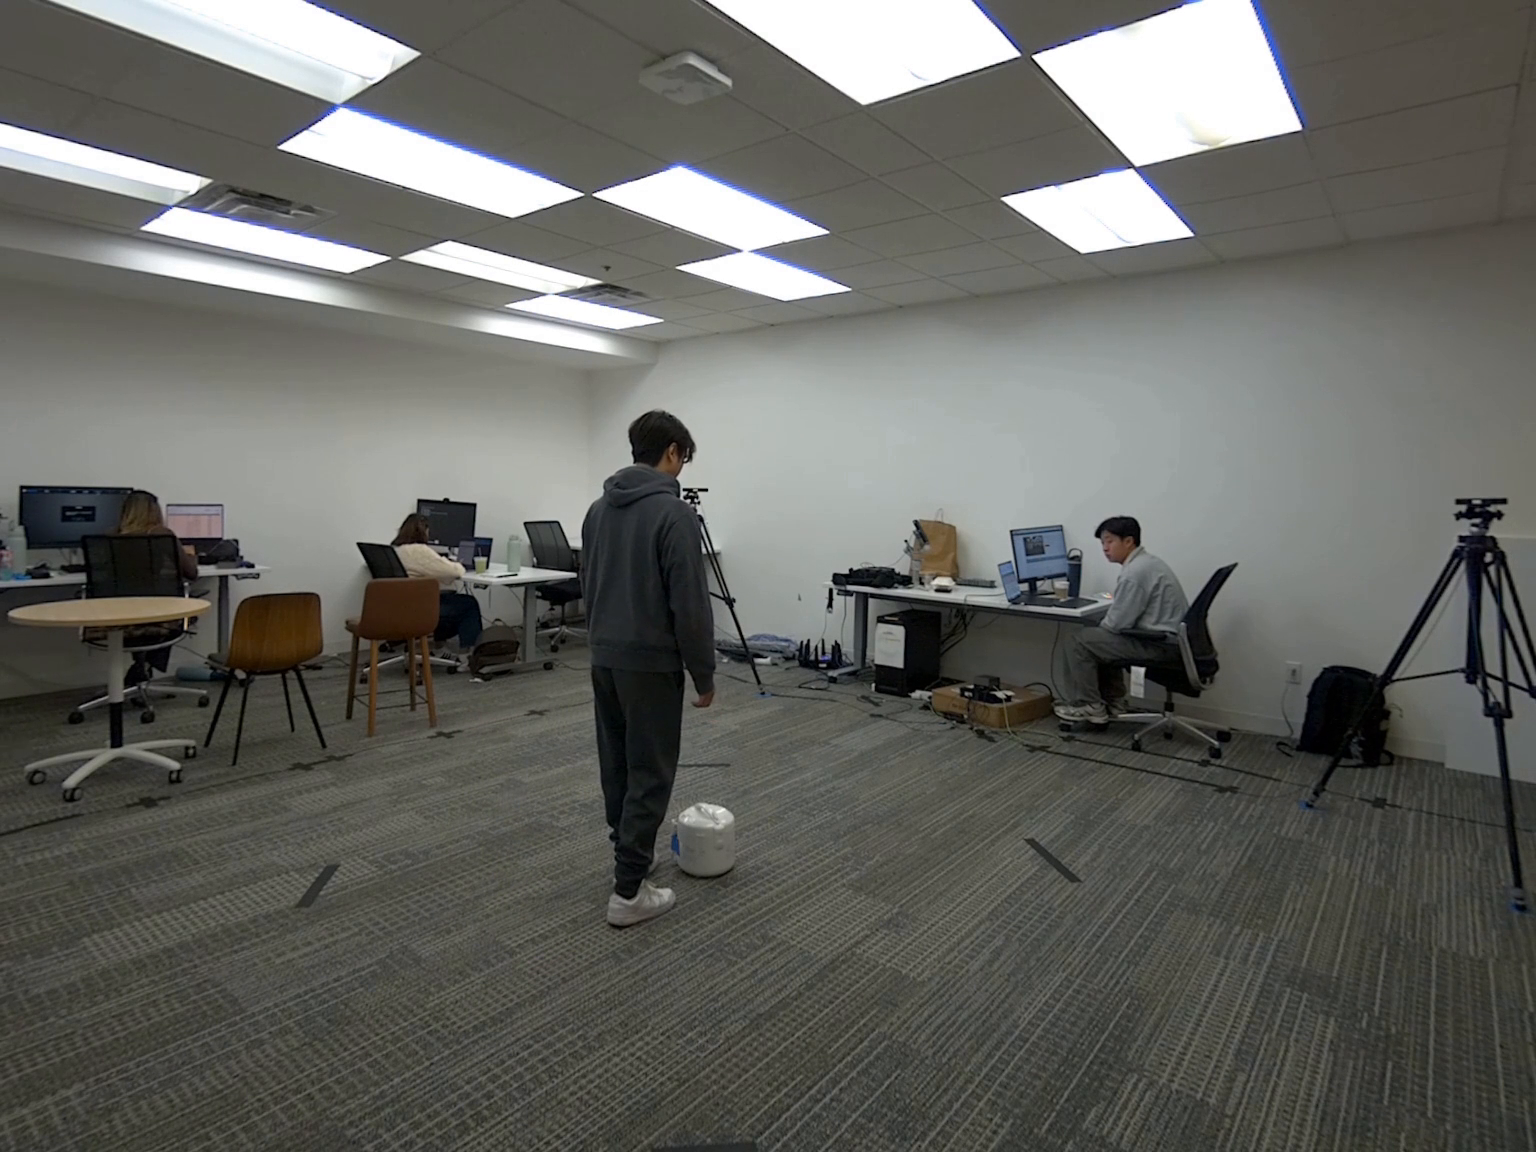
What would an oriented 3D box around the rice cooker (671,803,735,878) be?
[{"bbox_3d":[-0.235,0.950,3.120,0.212,0.232,0.227,-2,5,-29],"label":"rice cooker"}]
